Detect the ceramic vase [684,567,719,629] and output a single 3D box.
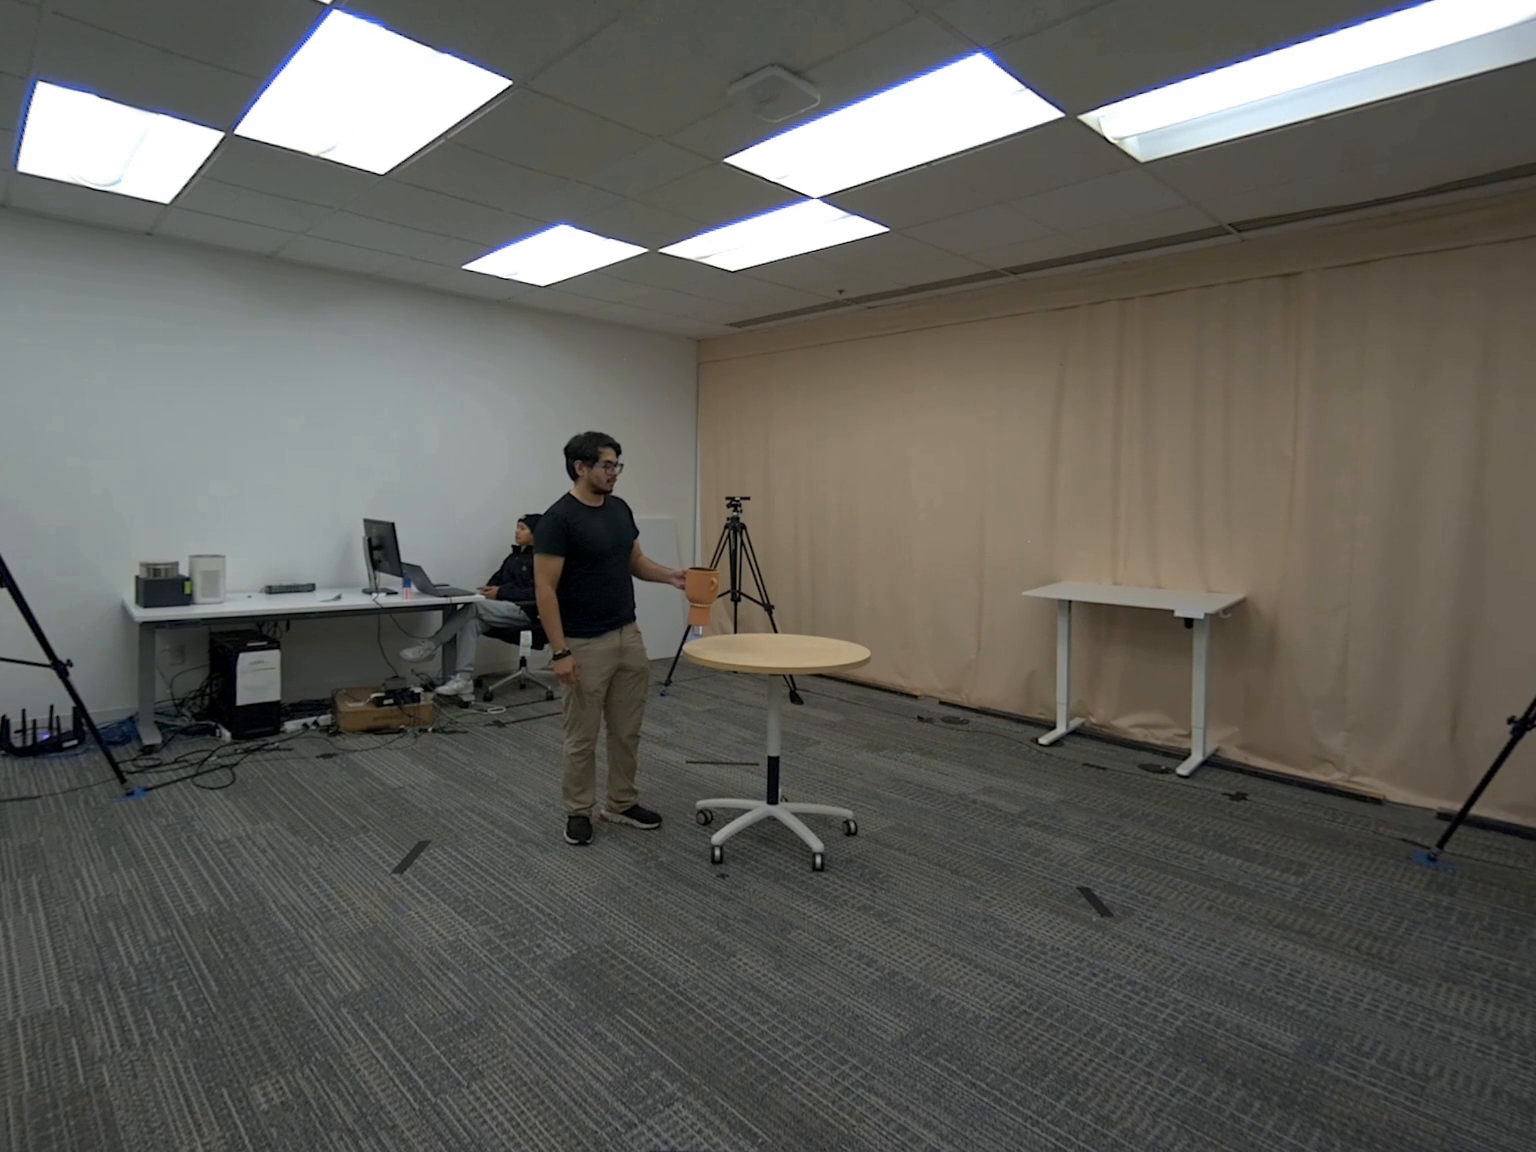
[{"bbox_3d":[-0.278,0.082,3.346,0.134,0.219,0.159,4,5,-3],"label":"ceramic vase"}]
